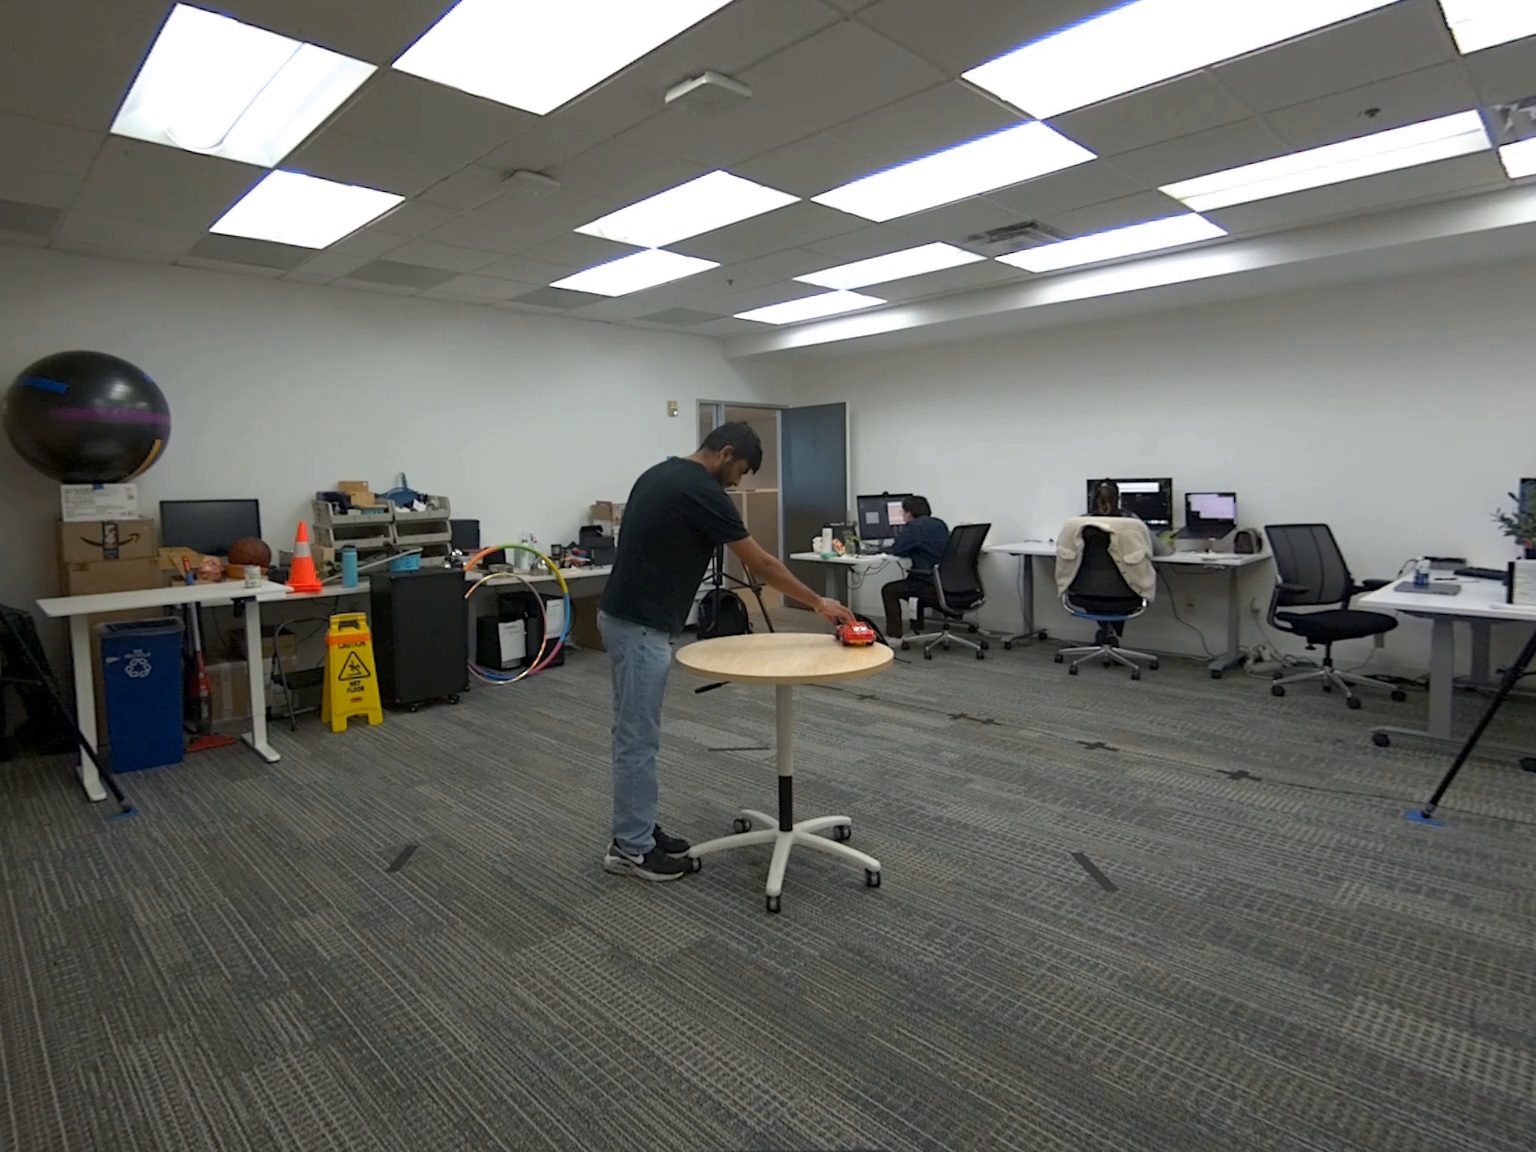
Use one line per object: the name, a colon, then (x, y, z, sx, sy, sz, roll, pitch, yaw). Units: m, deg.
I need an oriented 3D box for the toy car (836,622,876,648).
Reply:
toy car: (0.316, 0.217, 3.147, 0.130, 0.084, 0.254, -1, -6, -5)
